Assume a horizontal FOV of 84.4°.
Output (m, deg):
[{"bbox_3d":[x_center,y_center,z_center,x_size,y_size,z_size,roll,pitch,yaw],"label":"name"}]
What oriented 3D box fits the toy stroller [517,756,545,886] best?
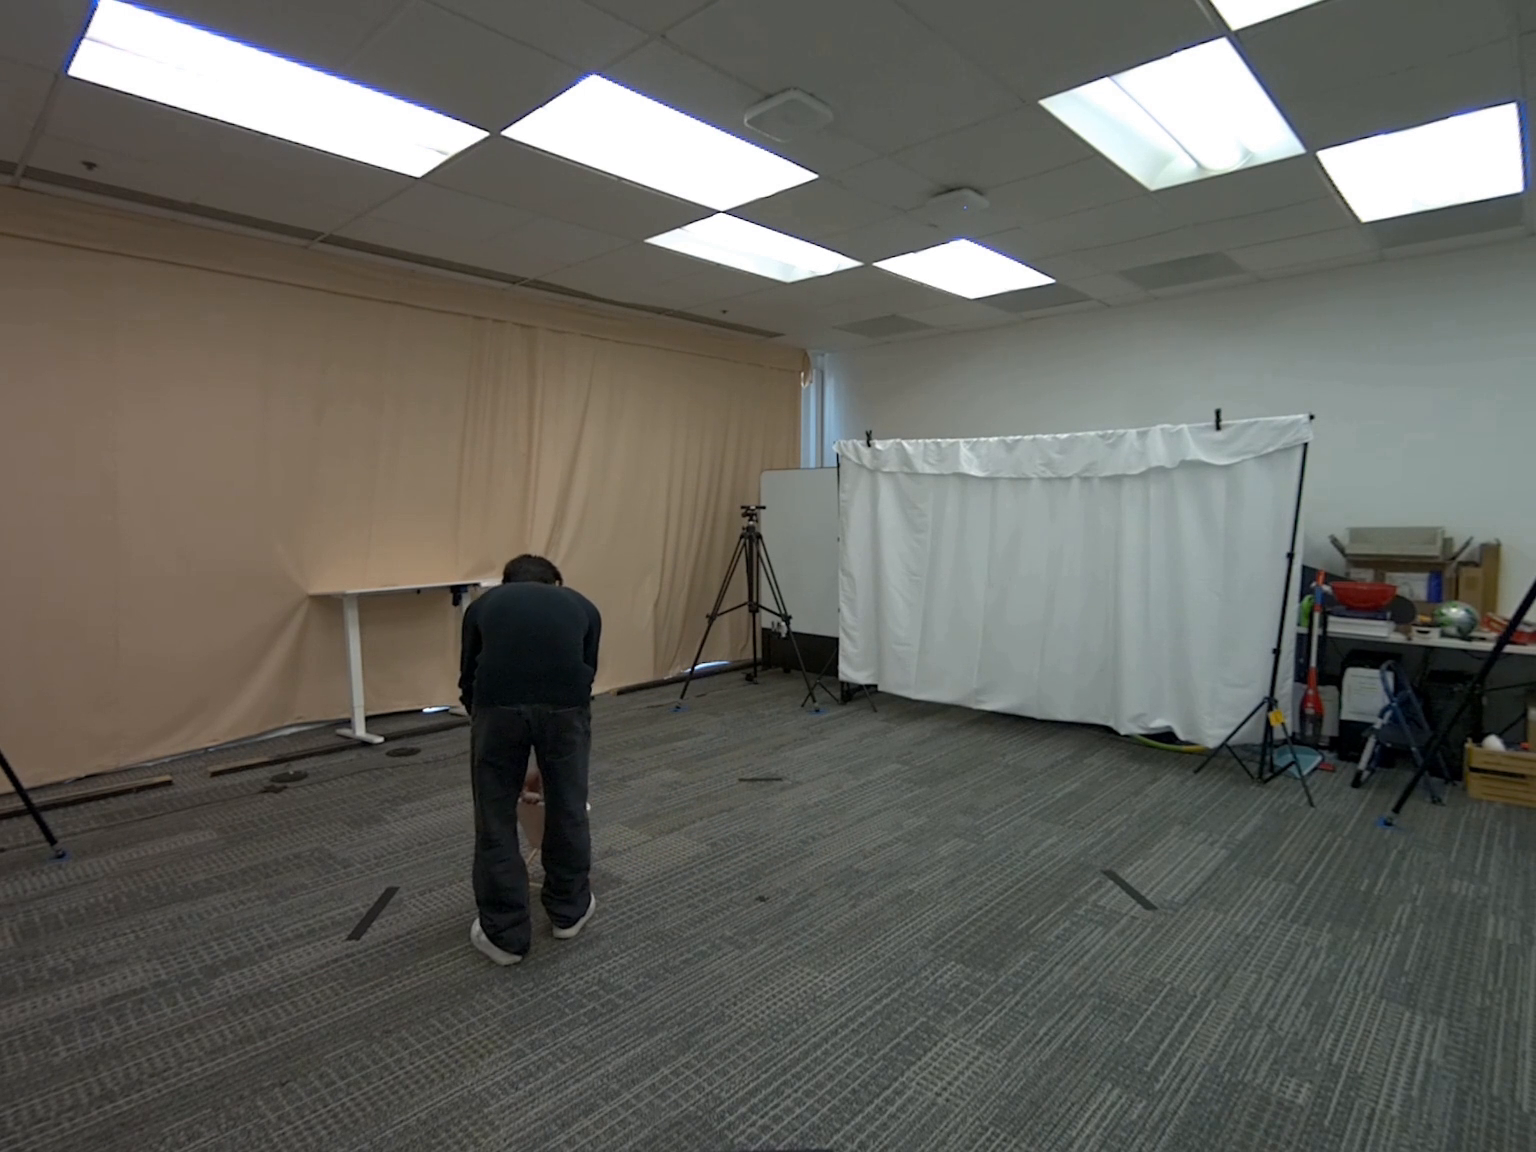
[{"bbox_3d":[-0.792,0.915,3.097,0.288,0.528,0.338,2,20,21],"label":"toy stroller"}]
